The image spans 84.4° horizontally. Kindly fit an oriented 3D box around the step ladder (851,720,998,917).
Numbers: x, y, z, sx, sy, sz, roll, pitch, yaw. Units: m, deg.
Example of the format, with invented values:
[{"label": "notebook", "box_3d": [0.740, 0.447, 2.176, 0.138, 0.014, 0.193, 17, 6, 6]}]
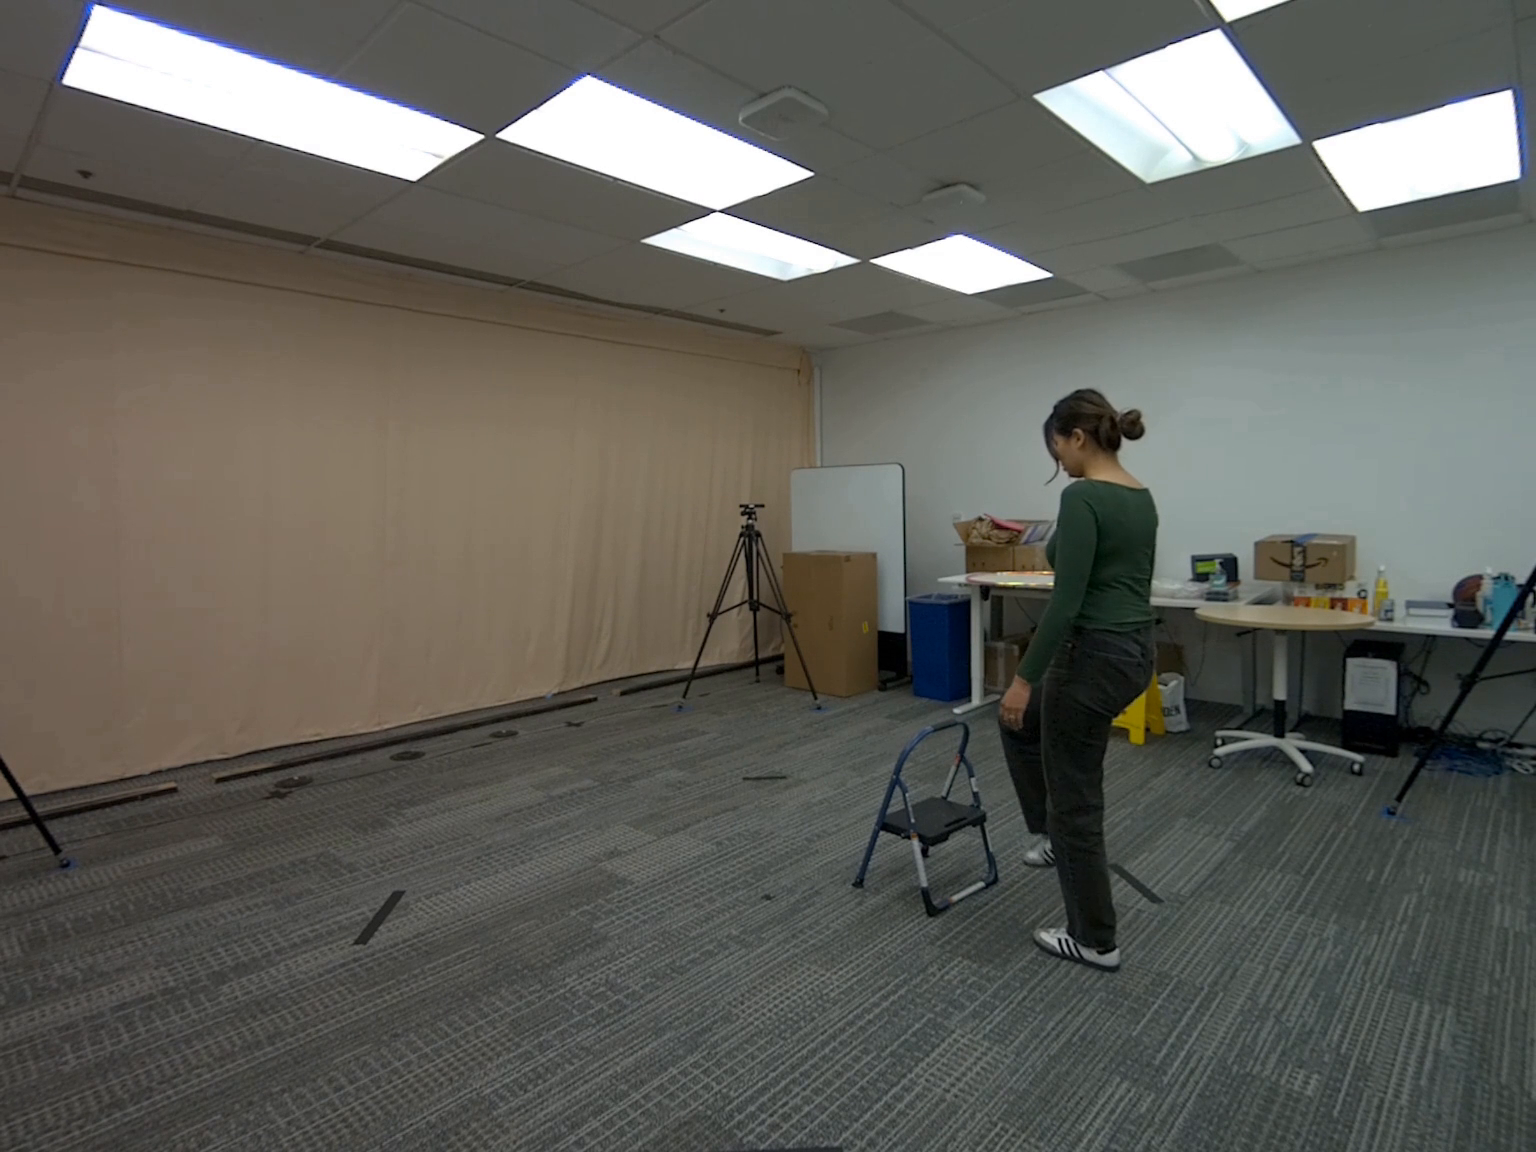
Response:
[{"label": "step ladder", "box_3d": [0.578, 0.819, 3.054, 0.417, 0.605, 0.361, -4, 5, -43]}]
